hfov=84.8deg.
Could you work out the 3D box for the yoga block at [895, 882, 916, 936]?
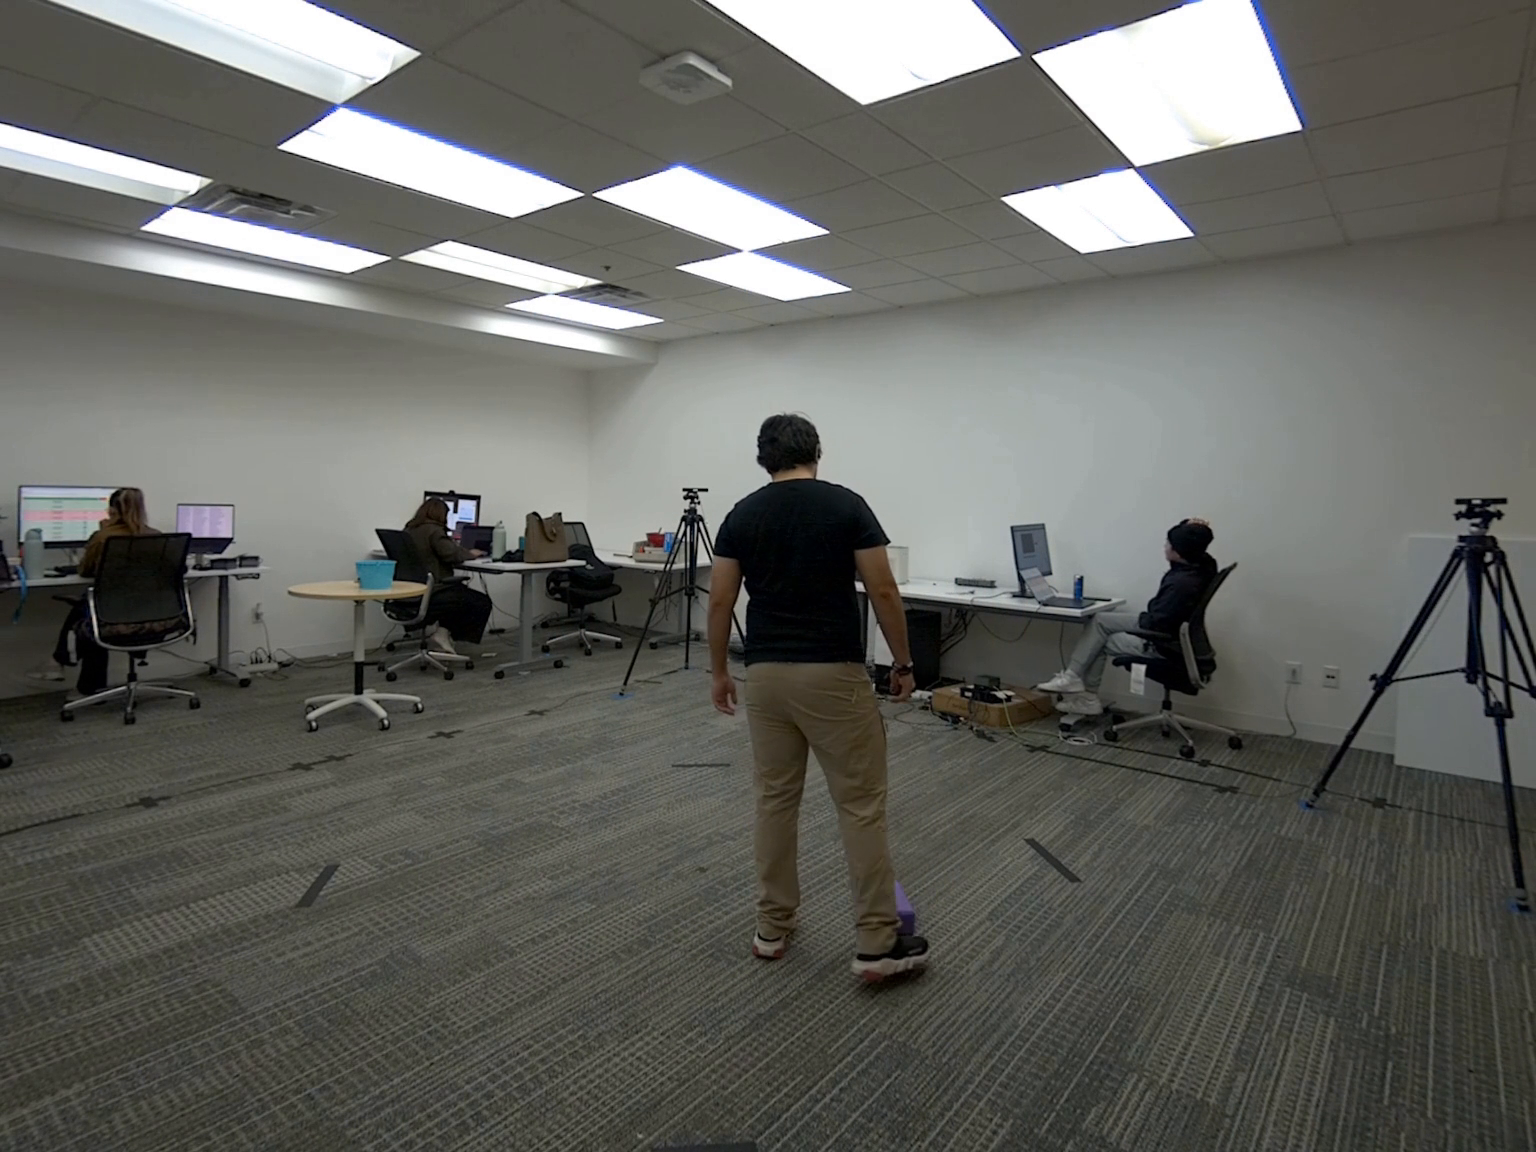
[{"bbox_3d":[0.375,1.073,2.787,0.148,0.076,0.231,-1,6,-5],"label":"yoga block"}]
